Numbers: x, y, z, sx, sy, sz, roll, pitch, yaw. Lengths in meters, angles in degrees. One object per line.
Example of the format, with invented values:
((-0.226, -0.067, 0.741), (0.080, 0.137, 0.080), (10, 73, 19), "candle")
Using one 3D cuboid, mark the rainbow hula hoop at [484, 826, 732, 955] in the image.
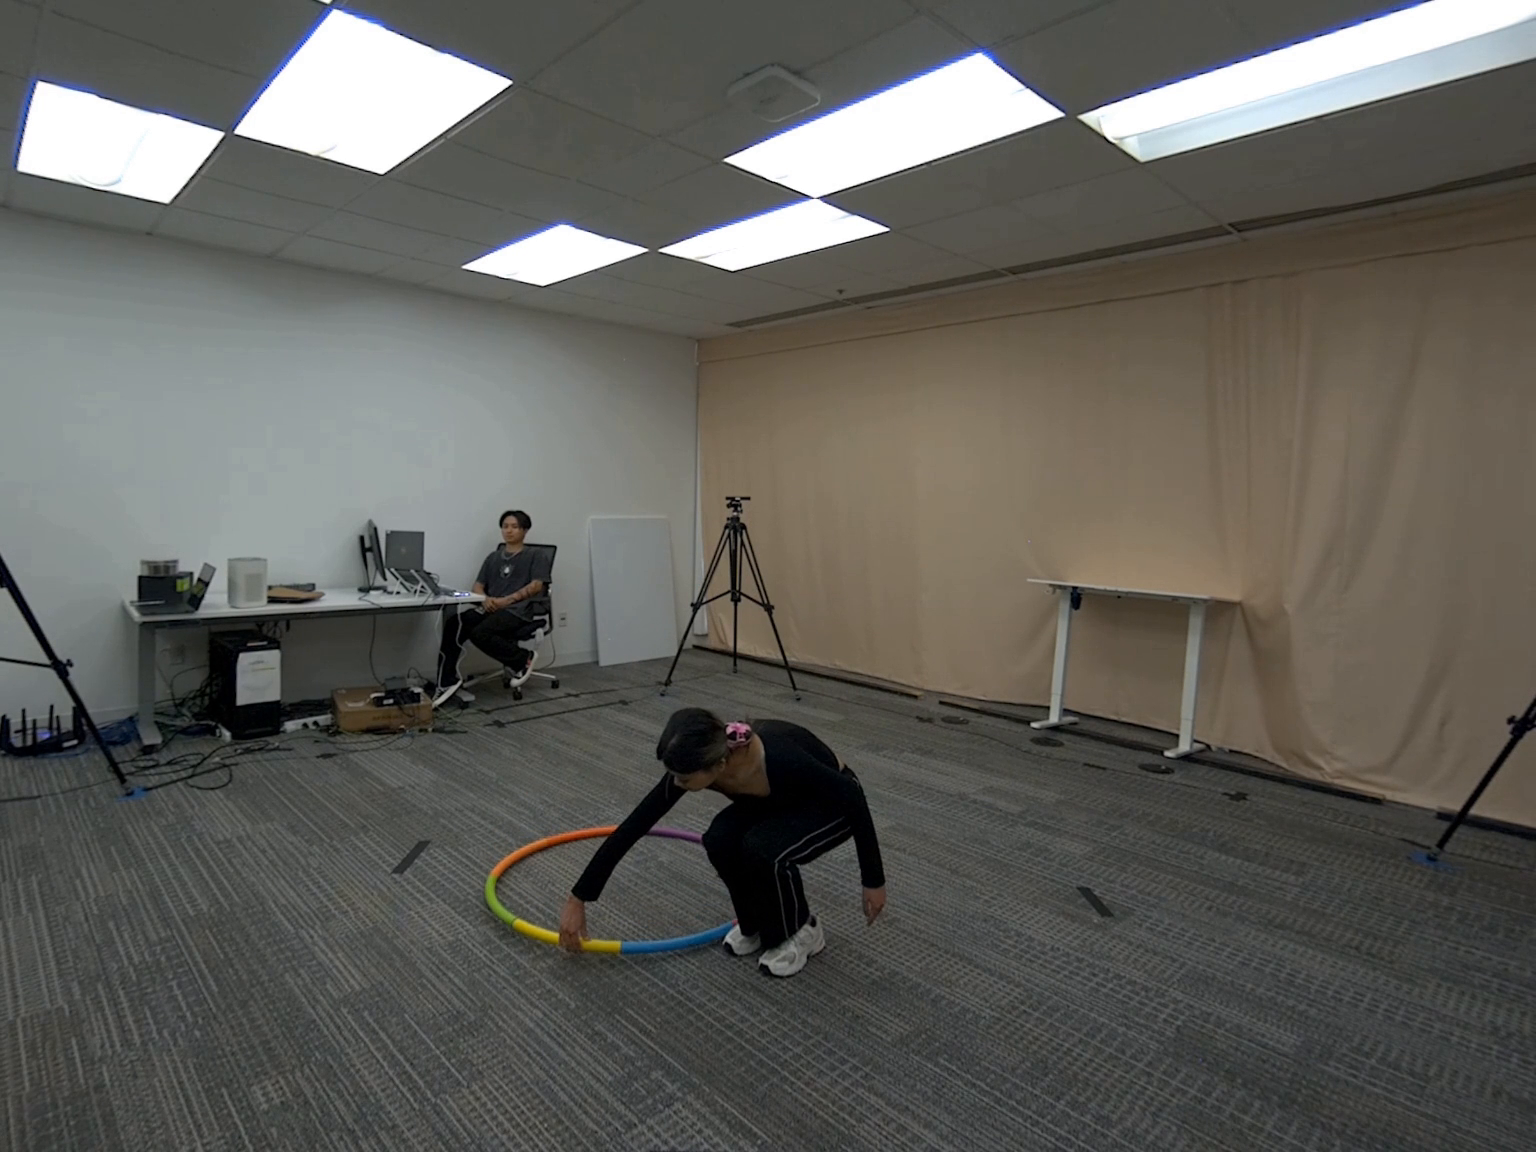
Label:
((-0.501, 1.067, 3.000), (0.978, 0.035, 0.981), (2, 4, -1), "rainbow hula hoop")
